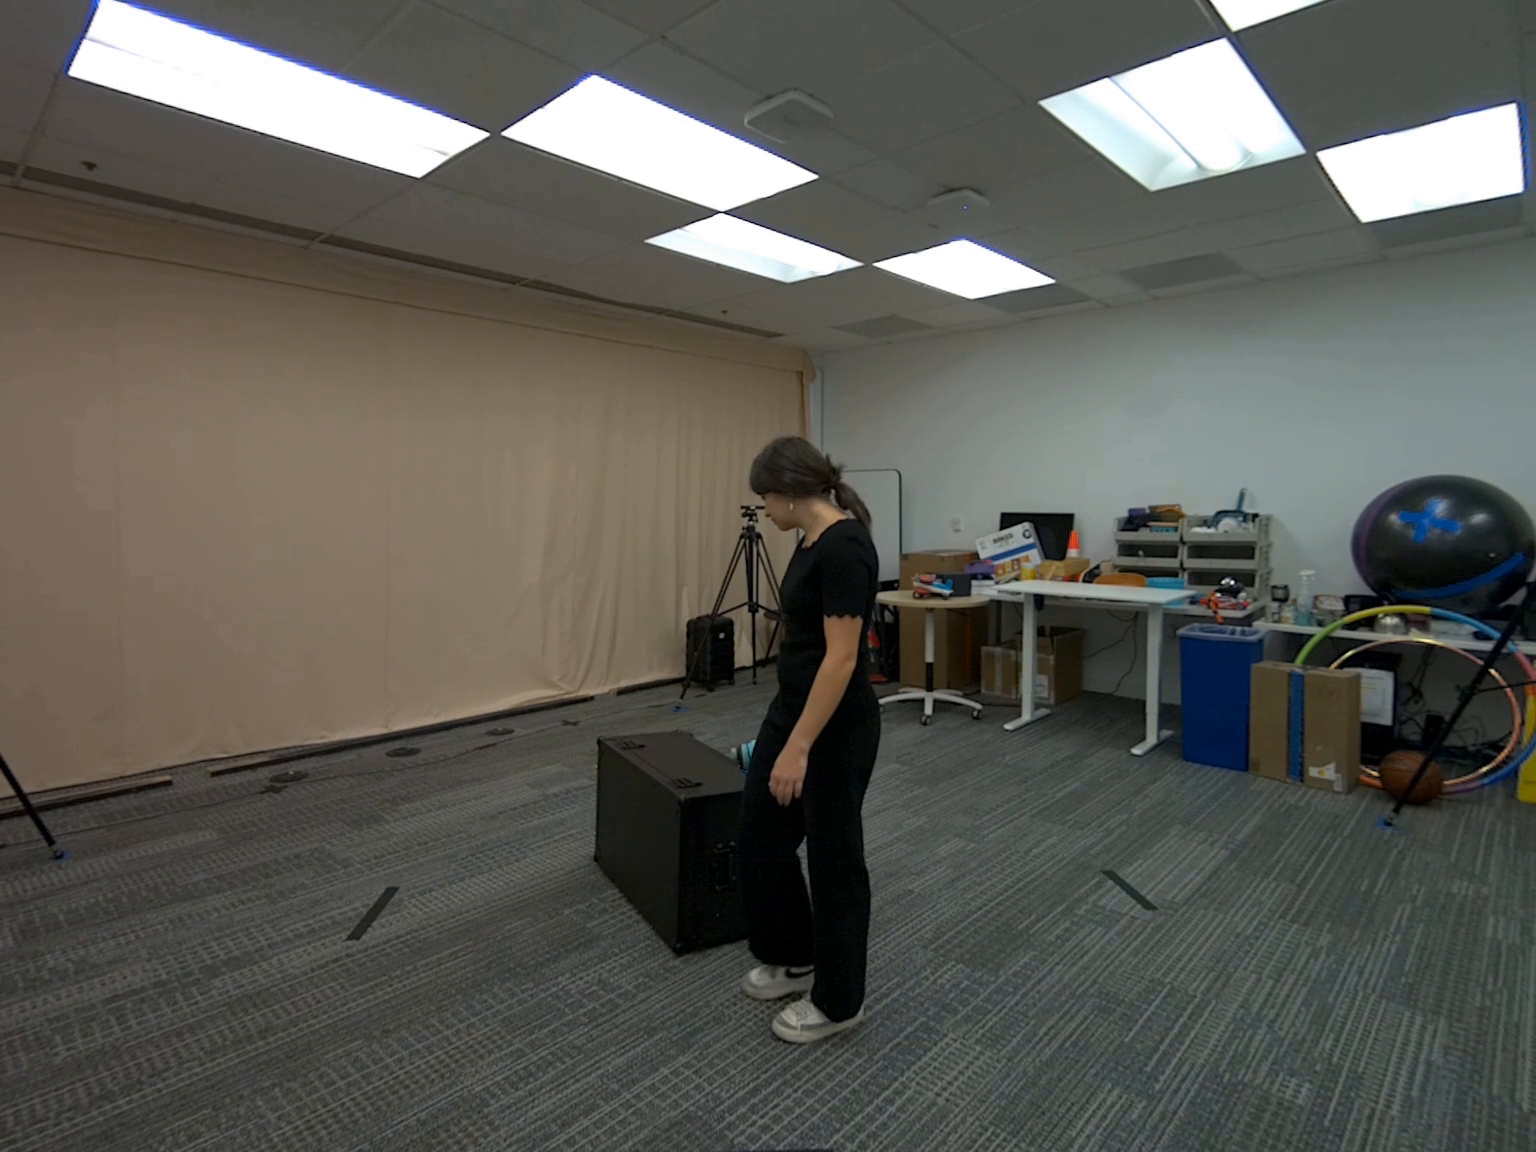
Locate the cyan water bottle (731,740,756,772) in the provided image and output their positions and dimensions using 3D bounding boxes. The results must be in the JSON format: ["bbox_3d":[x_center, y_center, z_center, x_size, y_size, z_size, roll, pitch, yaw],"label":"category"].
[{"bbox_3d":[0.038,0.515,2.469,0.283,0.092,0.092,-13,4,0],"label":"cyan water bottle"}]
